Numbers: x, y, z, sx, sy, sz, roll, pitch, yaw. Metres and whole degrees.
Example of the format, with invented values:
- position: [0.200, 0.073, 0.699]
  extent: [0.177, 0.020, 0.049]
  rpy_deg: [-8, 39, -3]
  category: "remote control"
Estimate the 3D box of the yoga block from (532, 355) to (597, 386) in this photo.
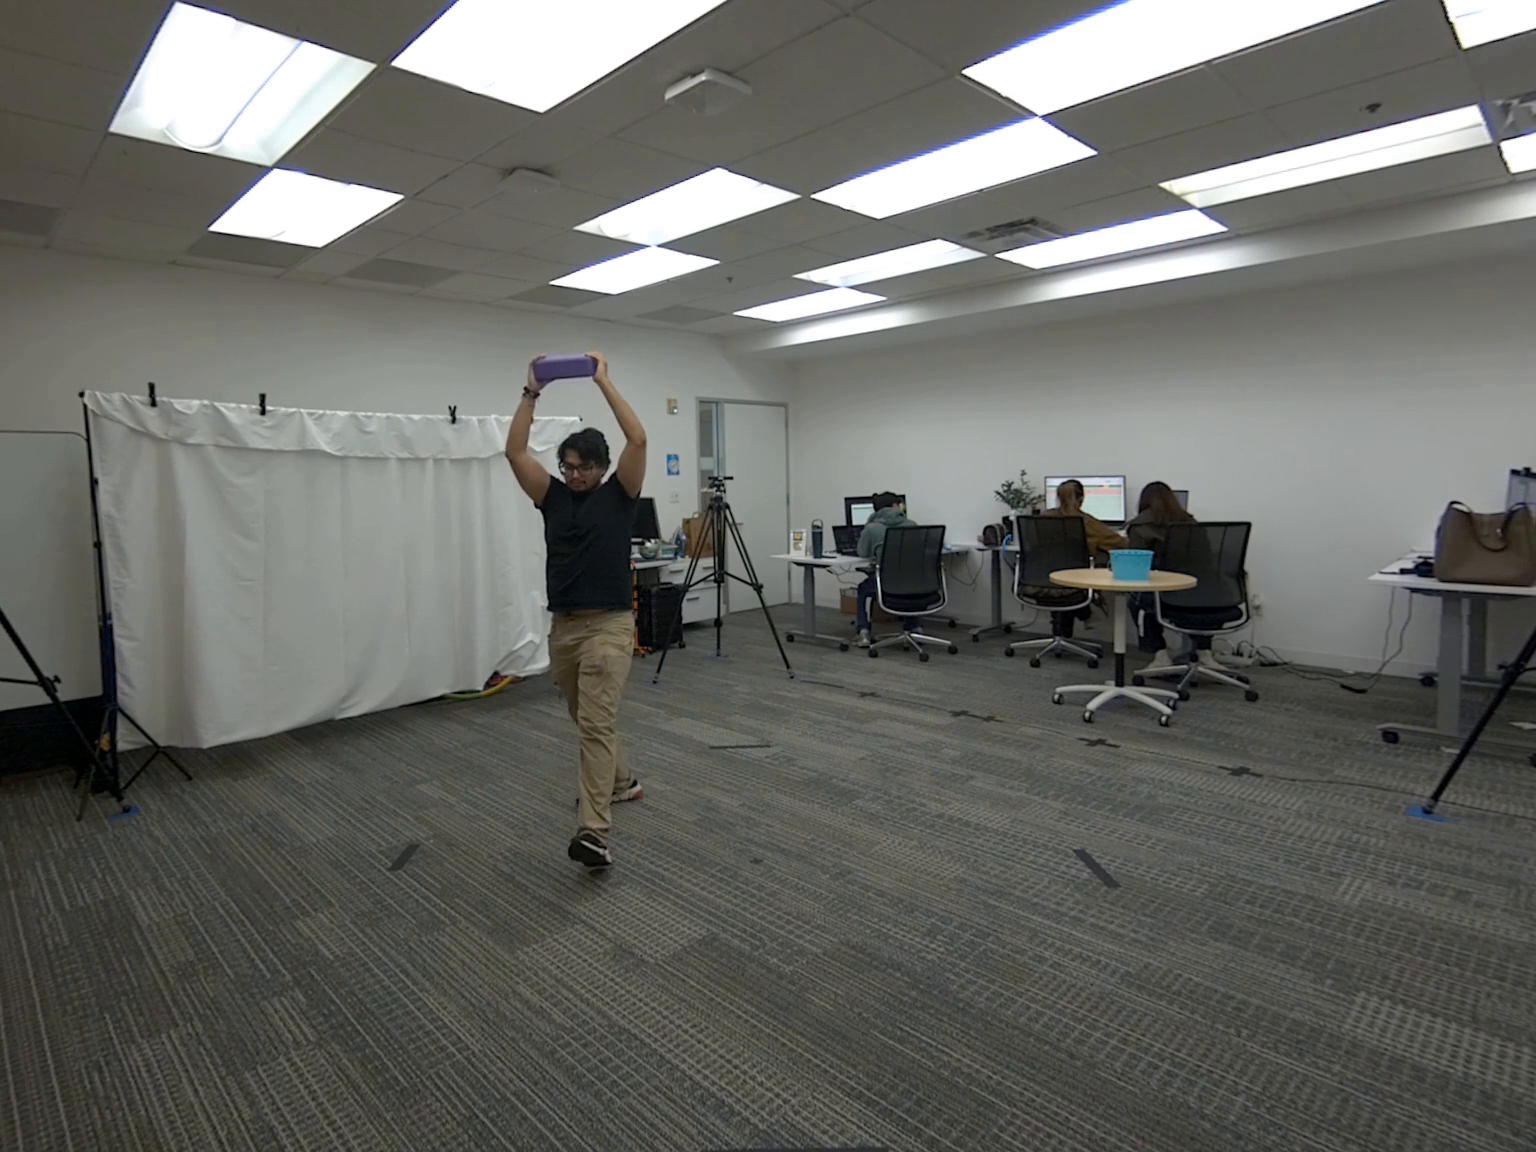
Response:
- position: [-0.775, -0.810, 3.317]
  extent: [0.232, 0.075, 0.150]
  rpy_deg: [-1, 18, 10]
  category: "yoga block"
